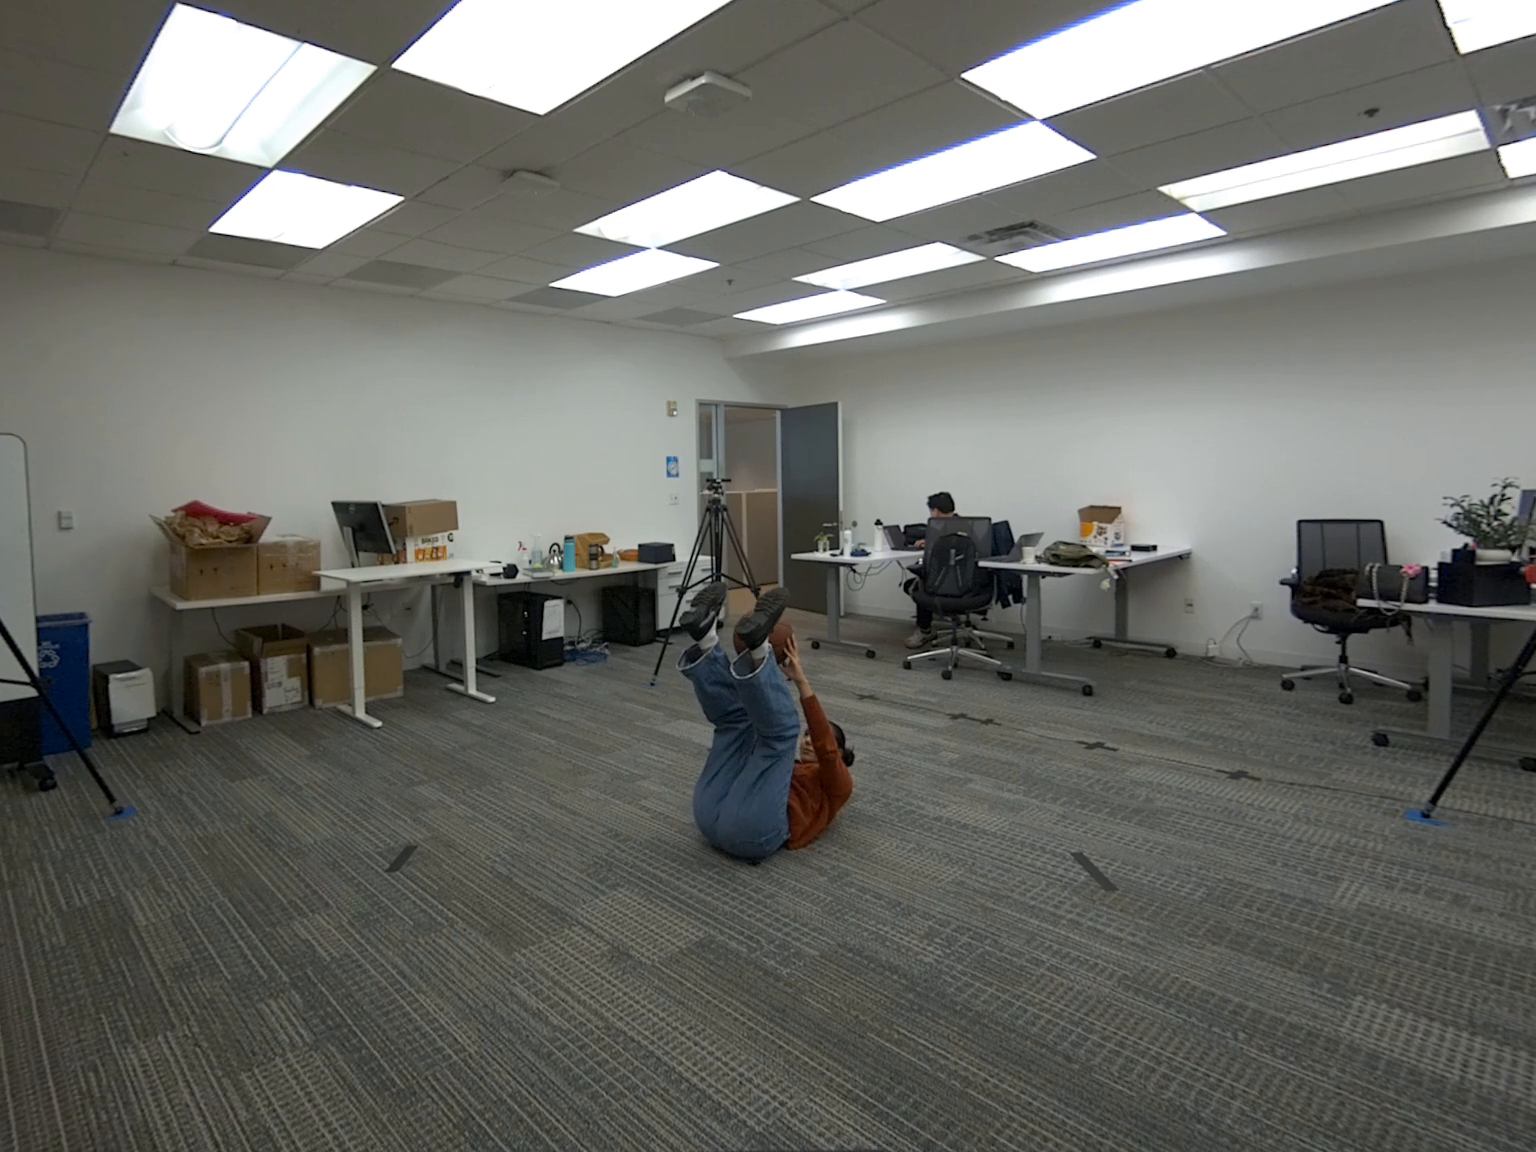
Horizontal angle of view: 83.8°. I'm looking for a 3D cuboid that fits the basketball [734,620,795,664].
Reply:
[{"bbox_3d":[-0.018,0.240,3.302,0.236,0.236,0.236,0,1,-2],"label":"basketball"}]
